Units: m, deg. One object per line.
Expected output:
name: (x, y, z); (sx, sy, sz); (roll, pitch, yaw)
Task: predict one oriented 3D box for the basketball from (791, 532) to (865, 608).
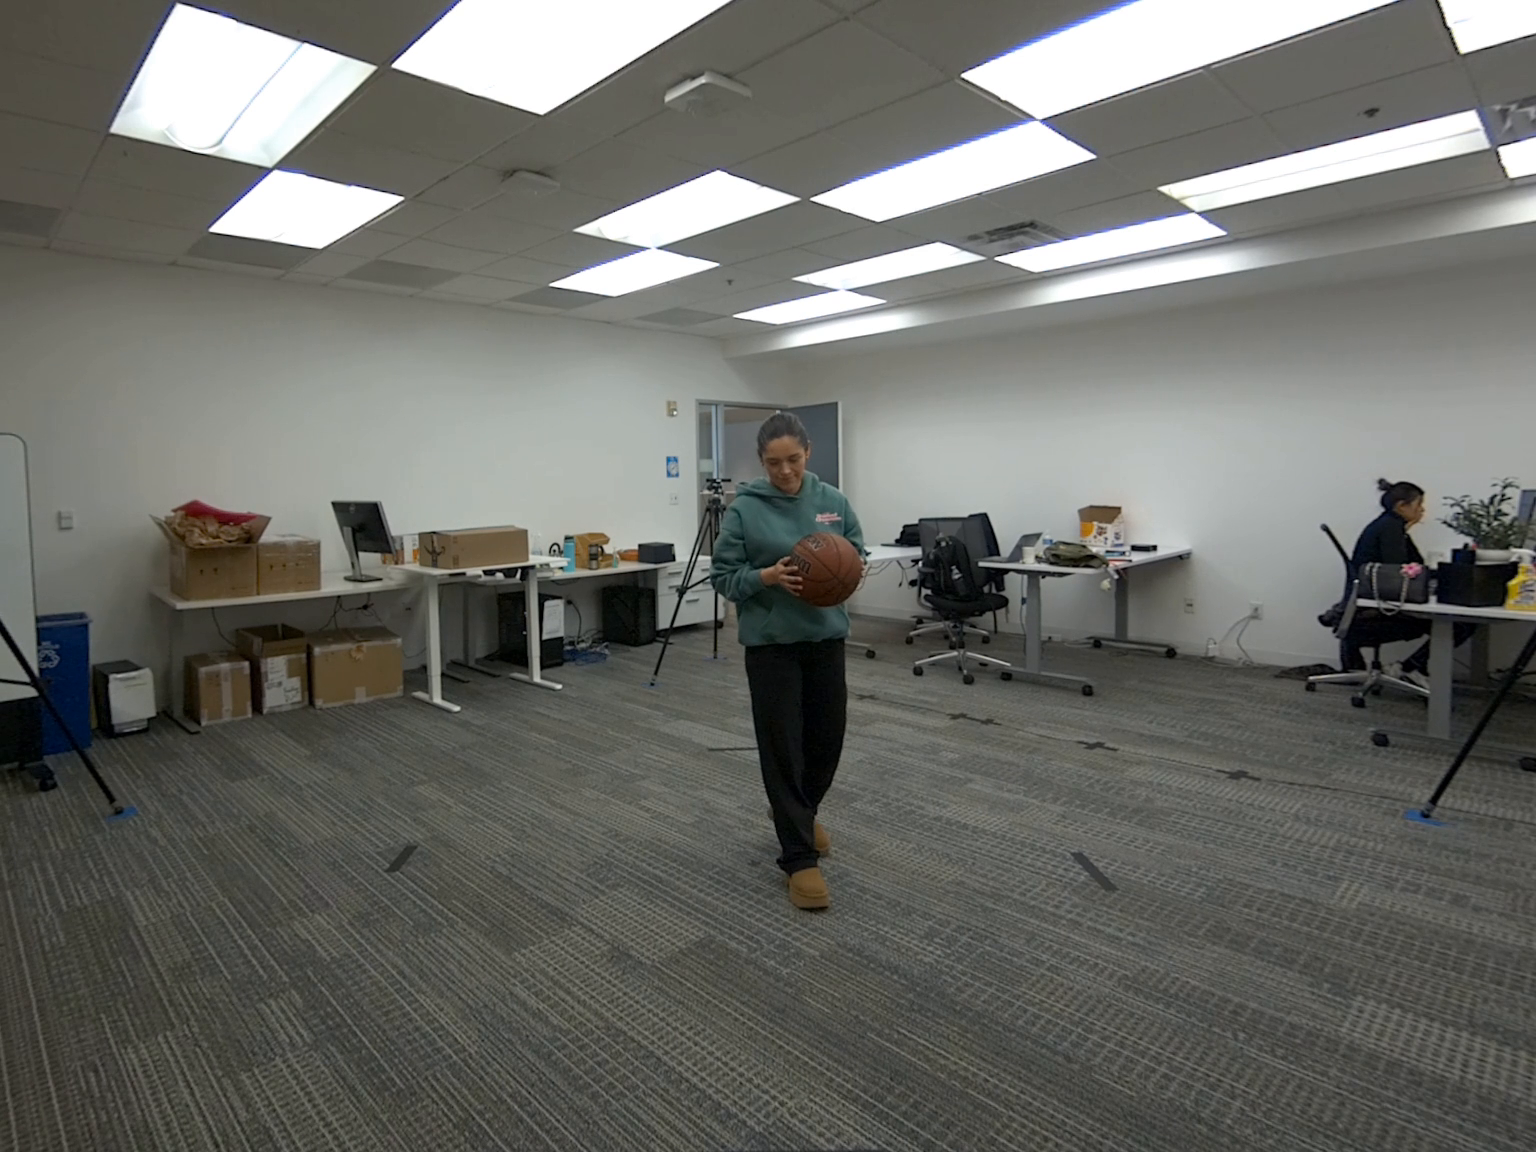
basketball: (0.175, -0.016, 2.687); (0.236, 0.235, 0.237); (-1, 5, -2)
